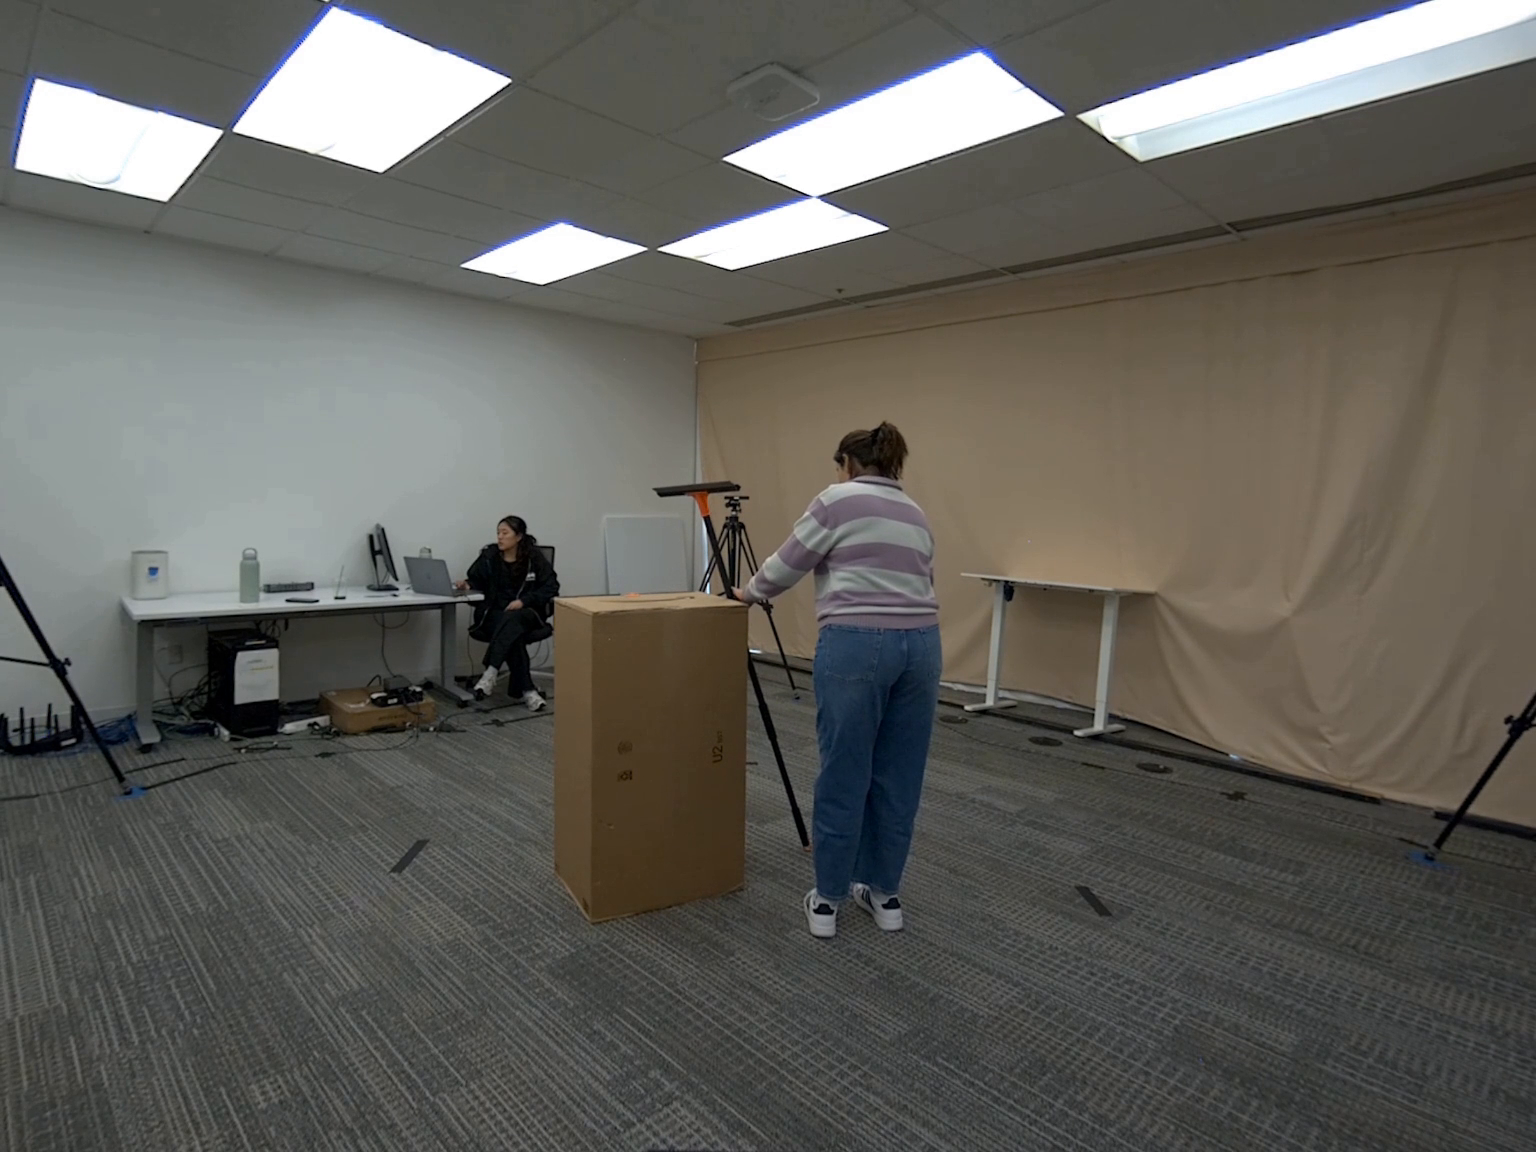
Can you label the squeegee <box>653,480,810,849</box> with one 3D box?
[{"bbox_3d":[-0.047,0.372,3.166,0.052,1.515,0.448,-29,20,-39],"label":"squeegee"}]
